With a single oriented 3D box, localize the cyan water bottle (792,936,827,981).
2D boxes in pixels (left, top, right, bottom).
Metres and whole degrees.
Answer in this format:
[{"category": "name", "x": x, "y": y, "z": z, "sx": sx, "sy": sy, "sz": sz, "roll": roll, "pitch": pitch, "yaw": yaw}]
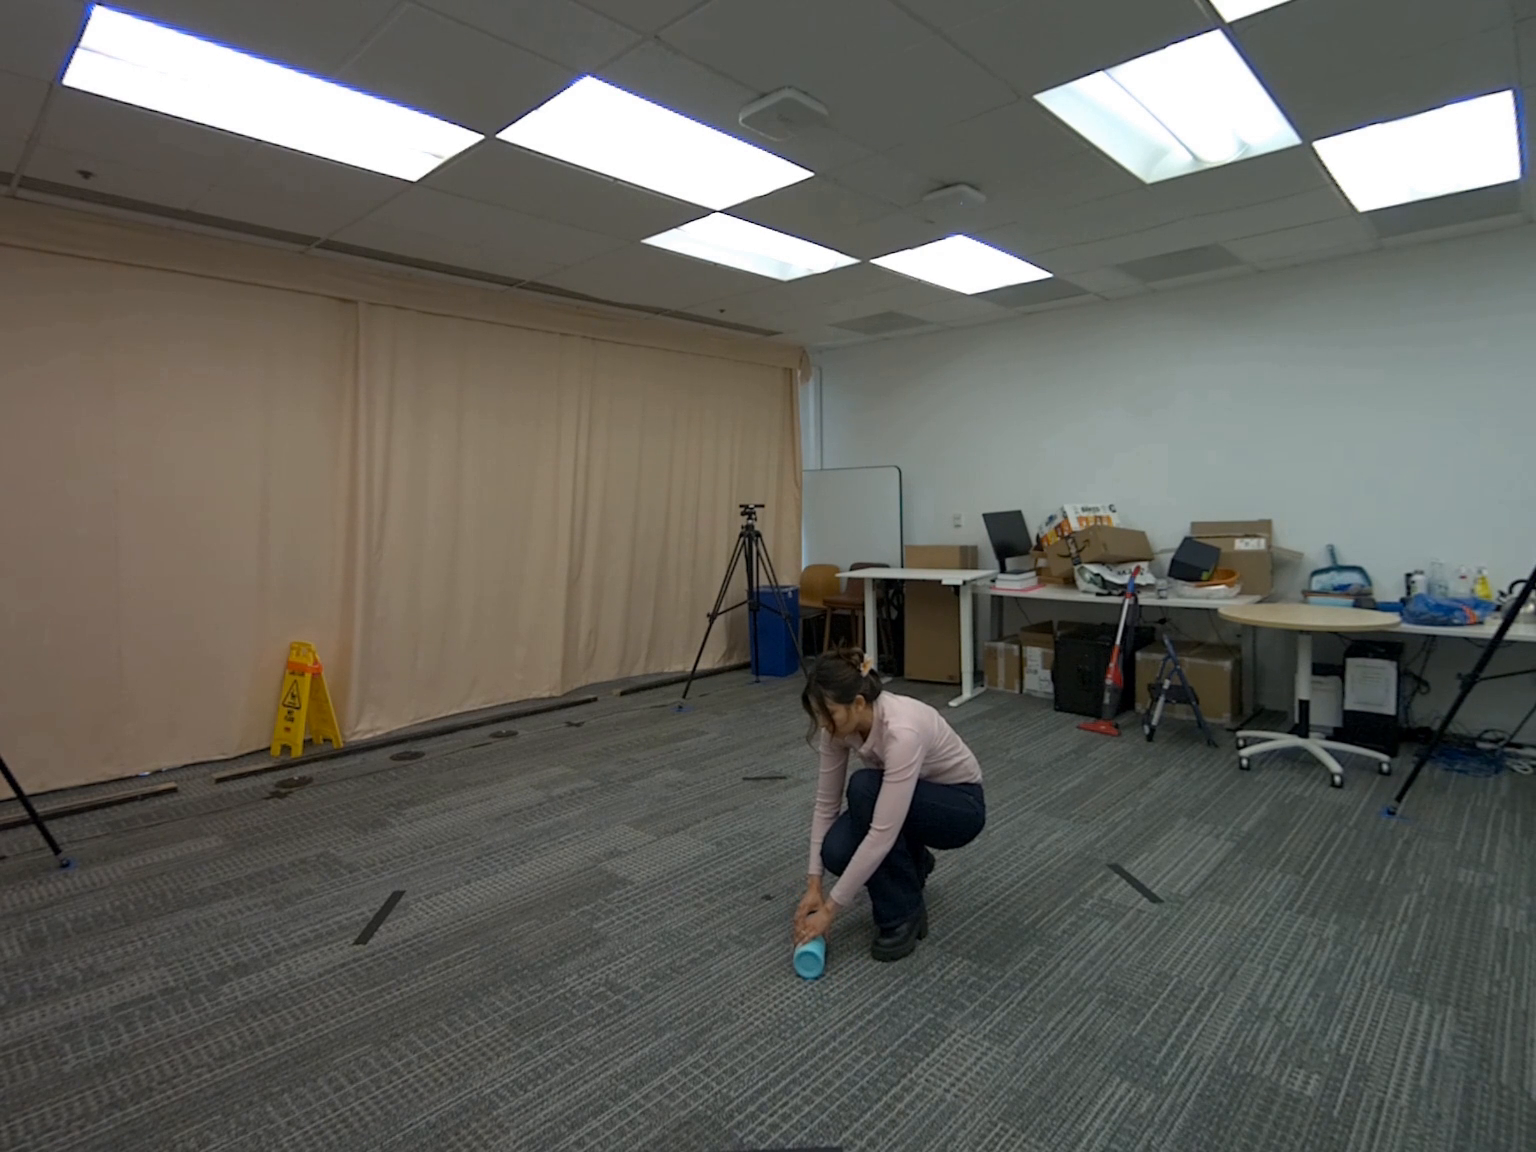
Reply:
[{"category": "cyan water bottle", "x": 0.141, "y": 1.130, "z": 2.596, "sx": 0.093, "sy": 0.092, "sz": 0.281, "roll": 0, "pitch": 3, "yaw": 6}]
